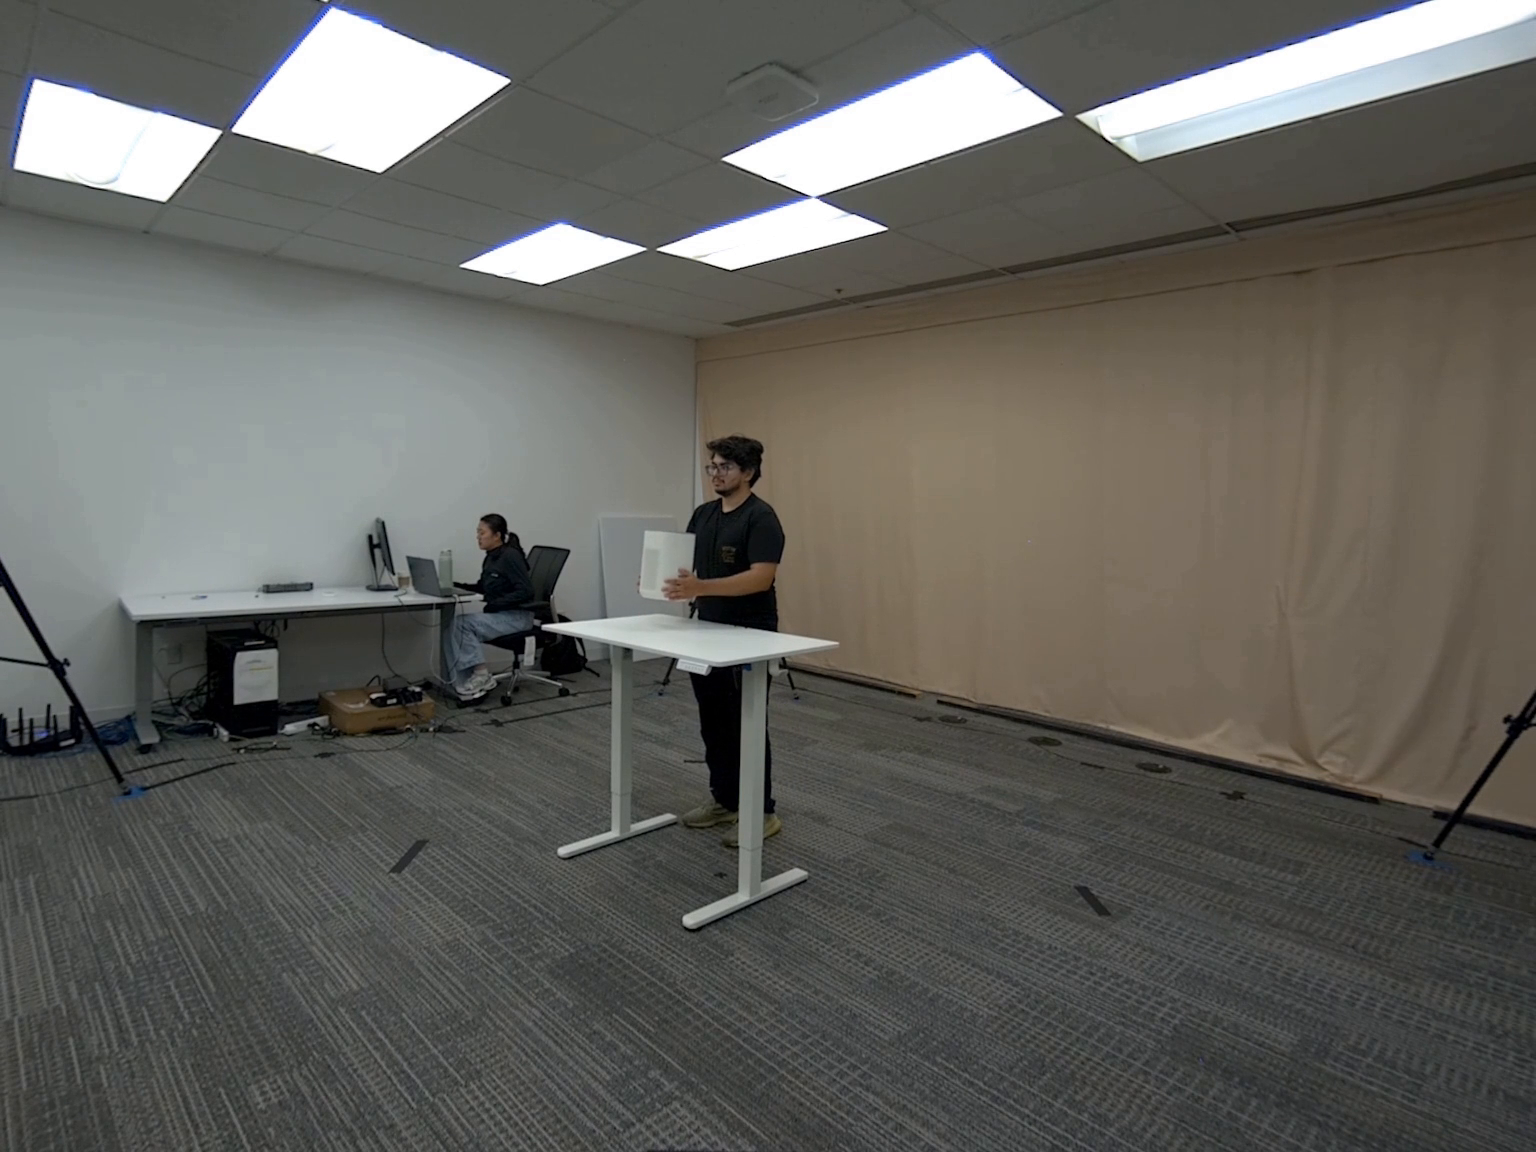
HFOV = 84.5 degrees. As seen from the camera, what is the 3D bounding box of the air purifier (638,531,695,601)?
[{"bbox_3d":[-0.399,-0.044,3.283,0.176,0.266,0.166,4,-2,45],"label":"air purifier"}]
